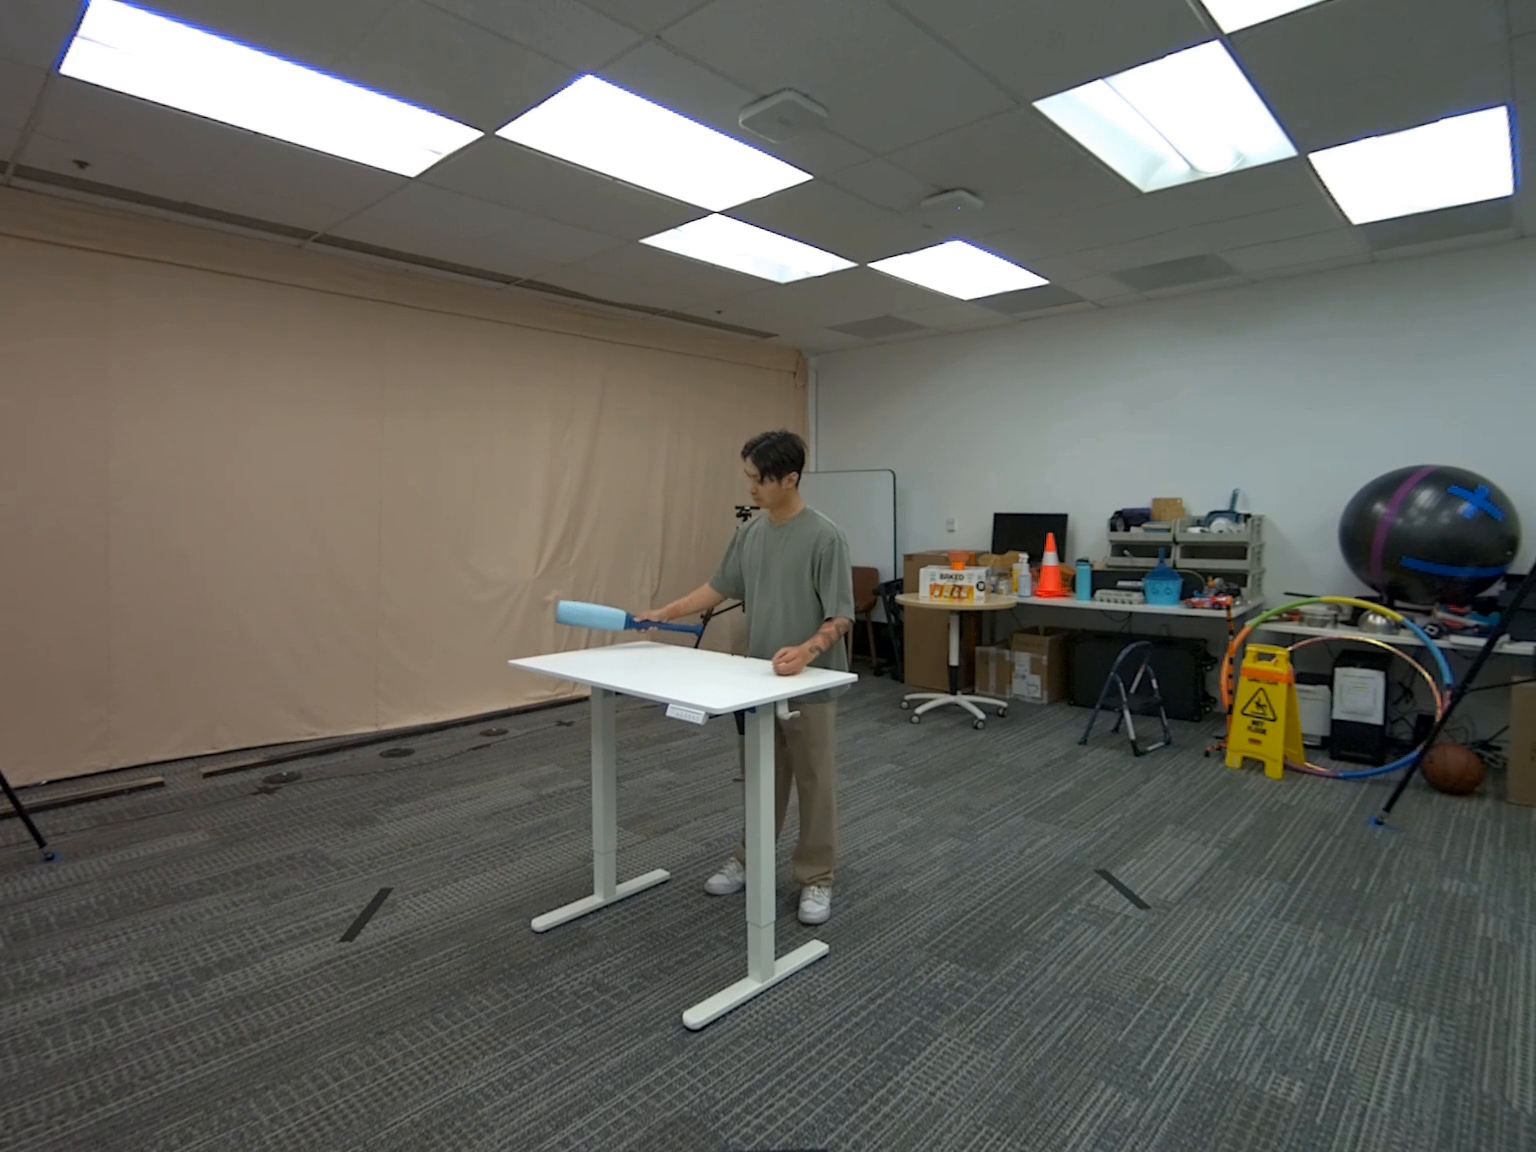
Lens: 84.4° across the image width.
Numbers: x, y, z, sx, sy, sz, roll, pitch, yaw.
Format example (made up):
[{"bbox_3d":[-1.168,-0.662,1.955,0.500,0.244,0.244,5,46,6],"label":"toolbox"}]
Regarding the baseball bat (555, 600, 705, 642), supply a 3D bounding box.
[{"bbox_3d":[-0.498,0.174,3.088,0.539,0.089,0.090,10,2,-6],"label":"baseball bat"}]
